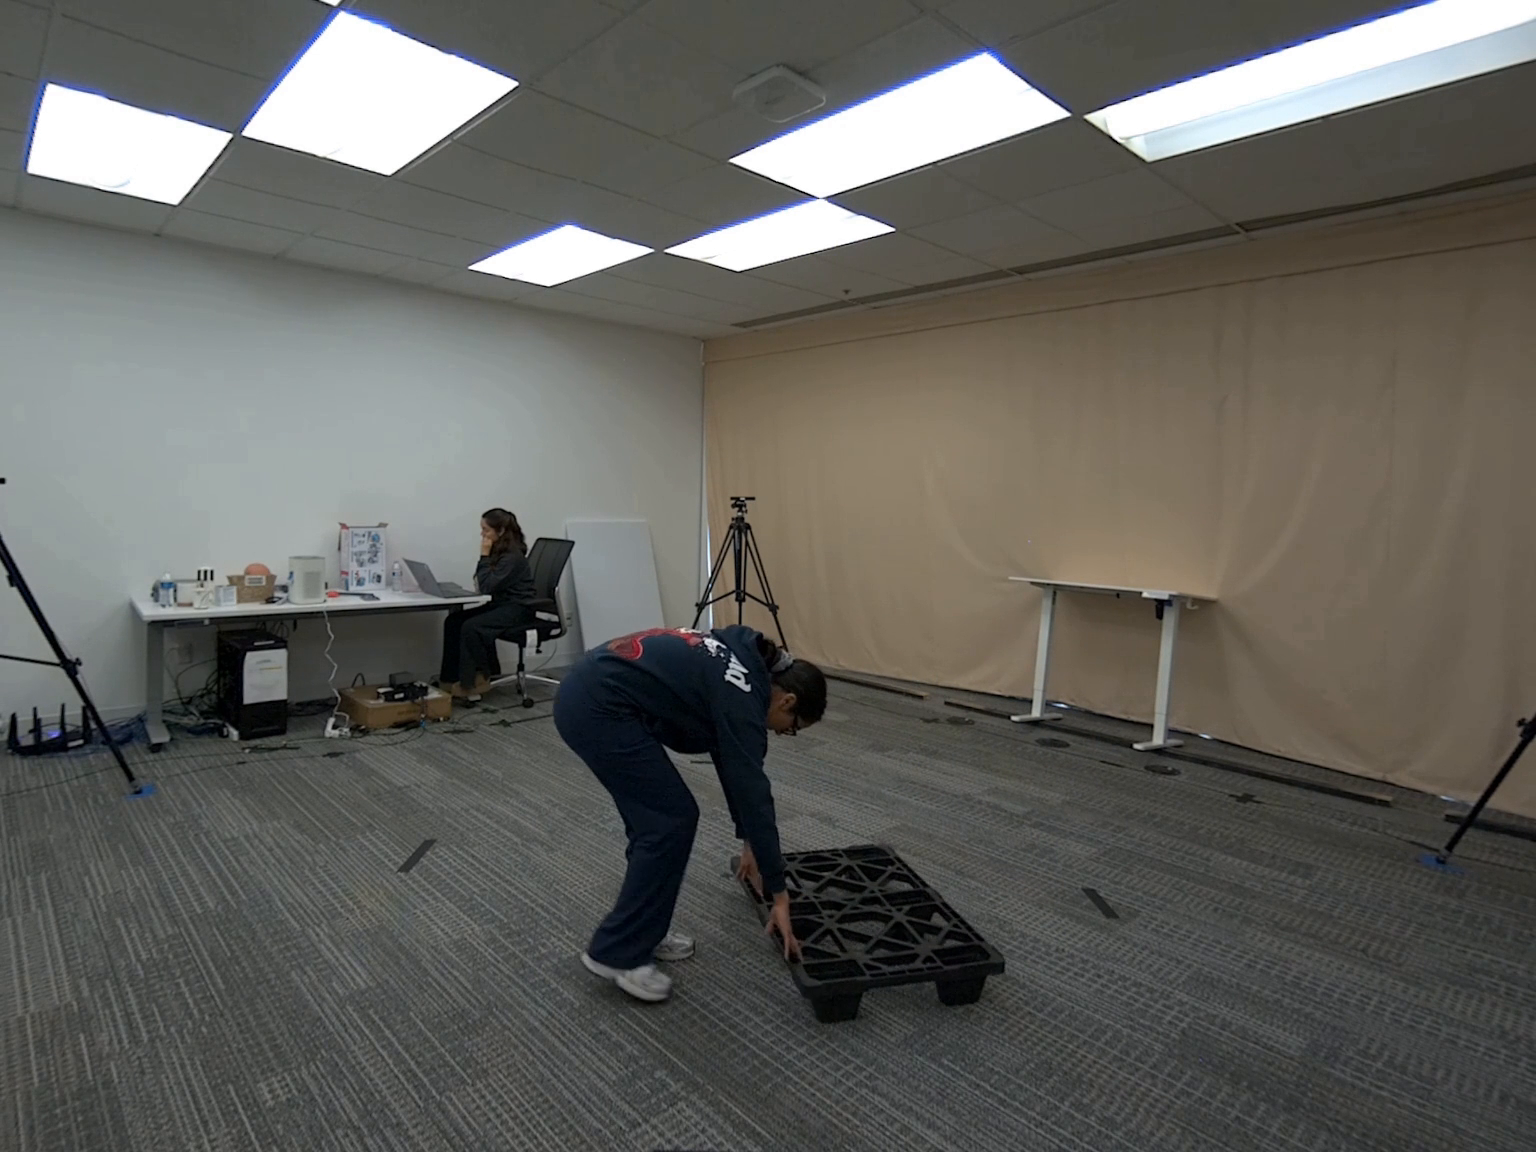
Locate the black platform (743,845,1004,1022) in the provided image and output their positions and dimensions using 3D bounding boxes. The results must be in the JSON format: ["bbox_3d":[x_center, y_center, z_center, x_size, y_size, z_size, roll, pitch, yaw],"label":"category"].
[{"bbox_3d":[0.255,1.089,2.645,0.598,0.143,0.818,-1,6,-16],"label":"black platform"}]
